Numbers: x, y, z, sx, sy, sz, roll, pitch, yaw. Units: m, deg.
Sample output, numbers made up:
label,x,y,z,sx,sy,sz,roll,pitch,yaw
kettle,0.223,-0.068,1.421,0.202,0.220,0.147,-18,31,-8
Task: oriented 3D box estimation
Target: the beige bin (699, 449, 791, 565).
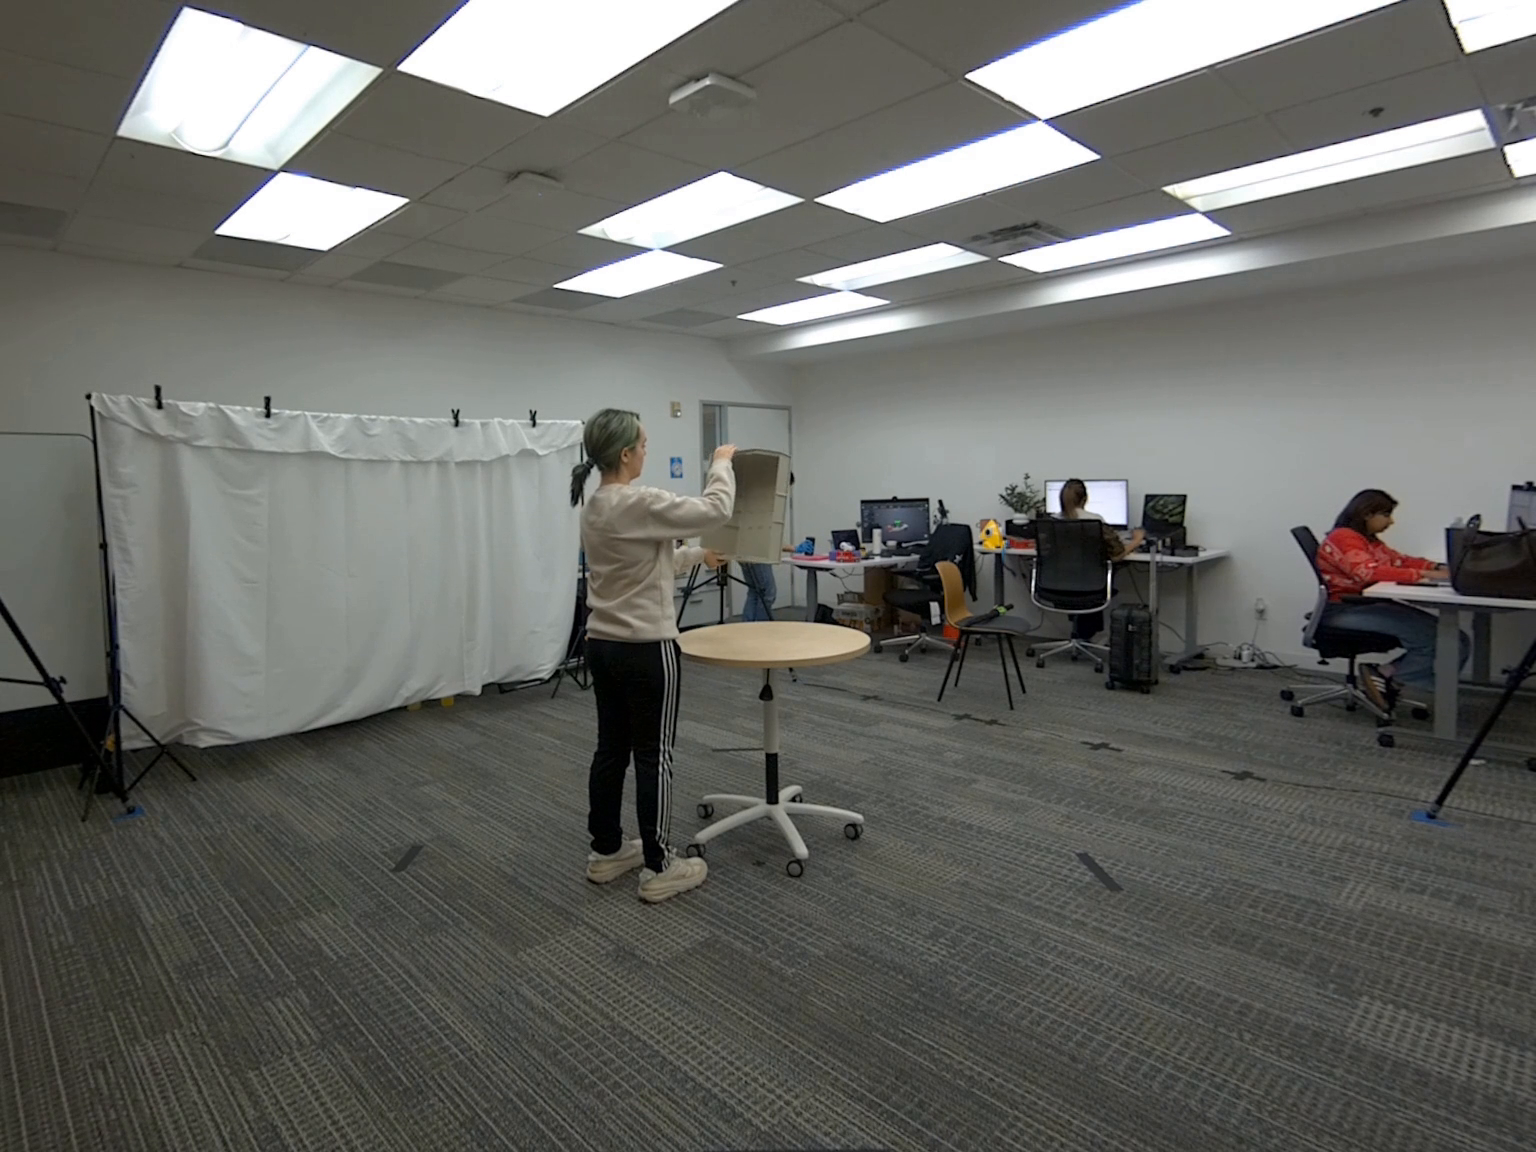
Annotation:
label,x,y,z,sx,sy,sz,roll,pitch,yaw
beige bin,-0.080,-0.266,3.318,0.183,0.423,0.388,8,-2,-33
